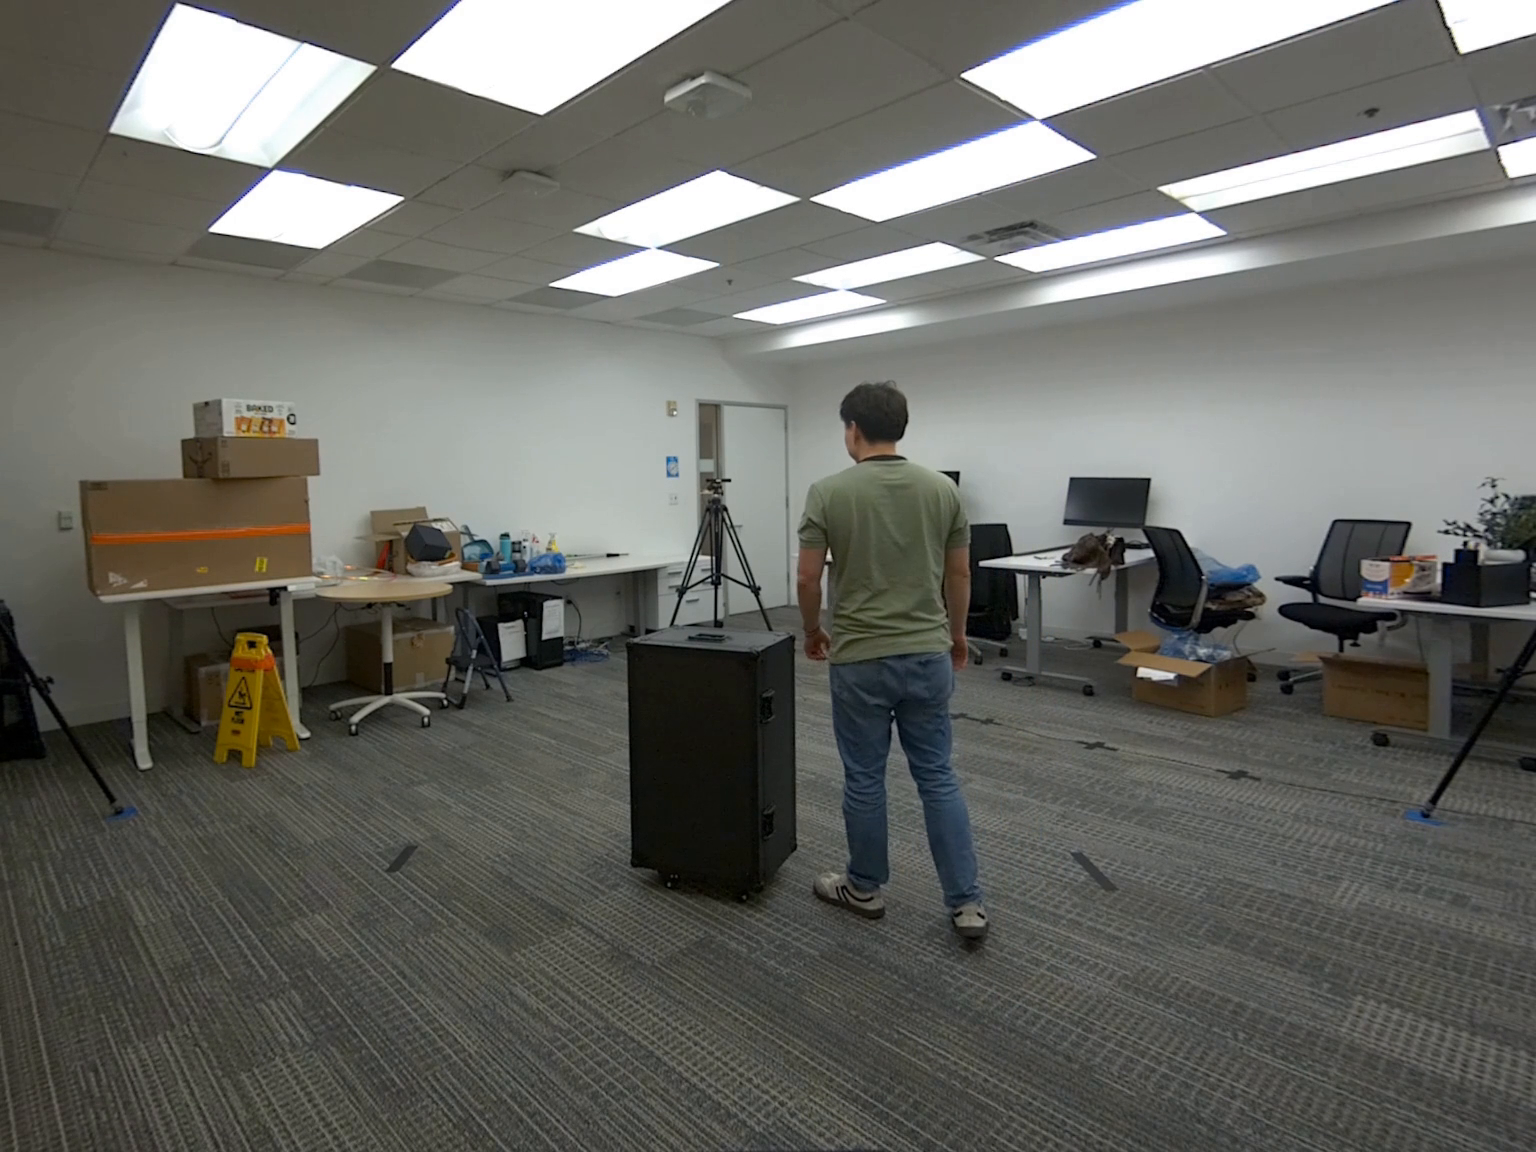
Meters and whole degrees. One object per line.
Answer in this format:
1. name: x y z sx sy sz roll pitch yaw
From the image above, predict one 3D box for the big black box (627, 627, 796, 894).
1. big black box: -0.191 0.635 2.996 0.533 0.859 0.388 1 3 24
